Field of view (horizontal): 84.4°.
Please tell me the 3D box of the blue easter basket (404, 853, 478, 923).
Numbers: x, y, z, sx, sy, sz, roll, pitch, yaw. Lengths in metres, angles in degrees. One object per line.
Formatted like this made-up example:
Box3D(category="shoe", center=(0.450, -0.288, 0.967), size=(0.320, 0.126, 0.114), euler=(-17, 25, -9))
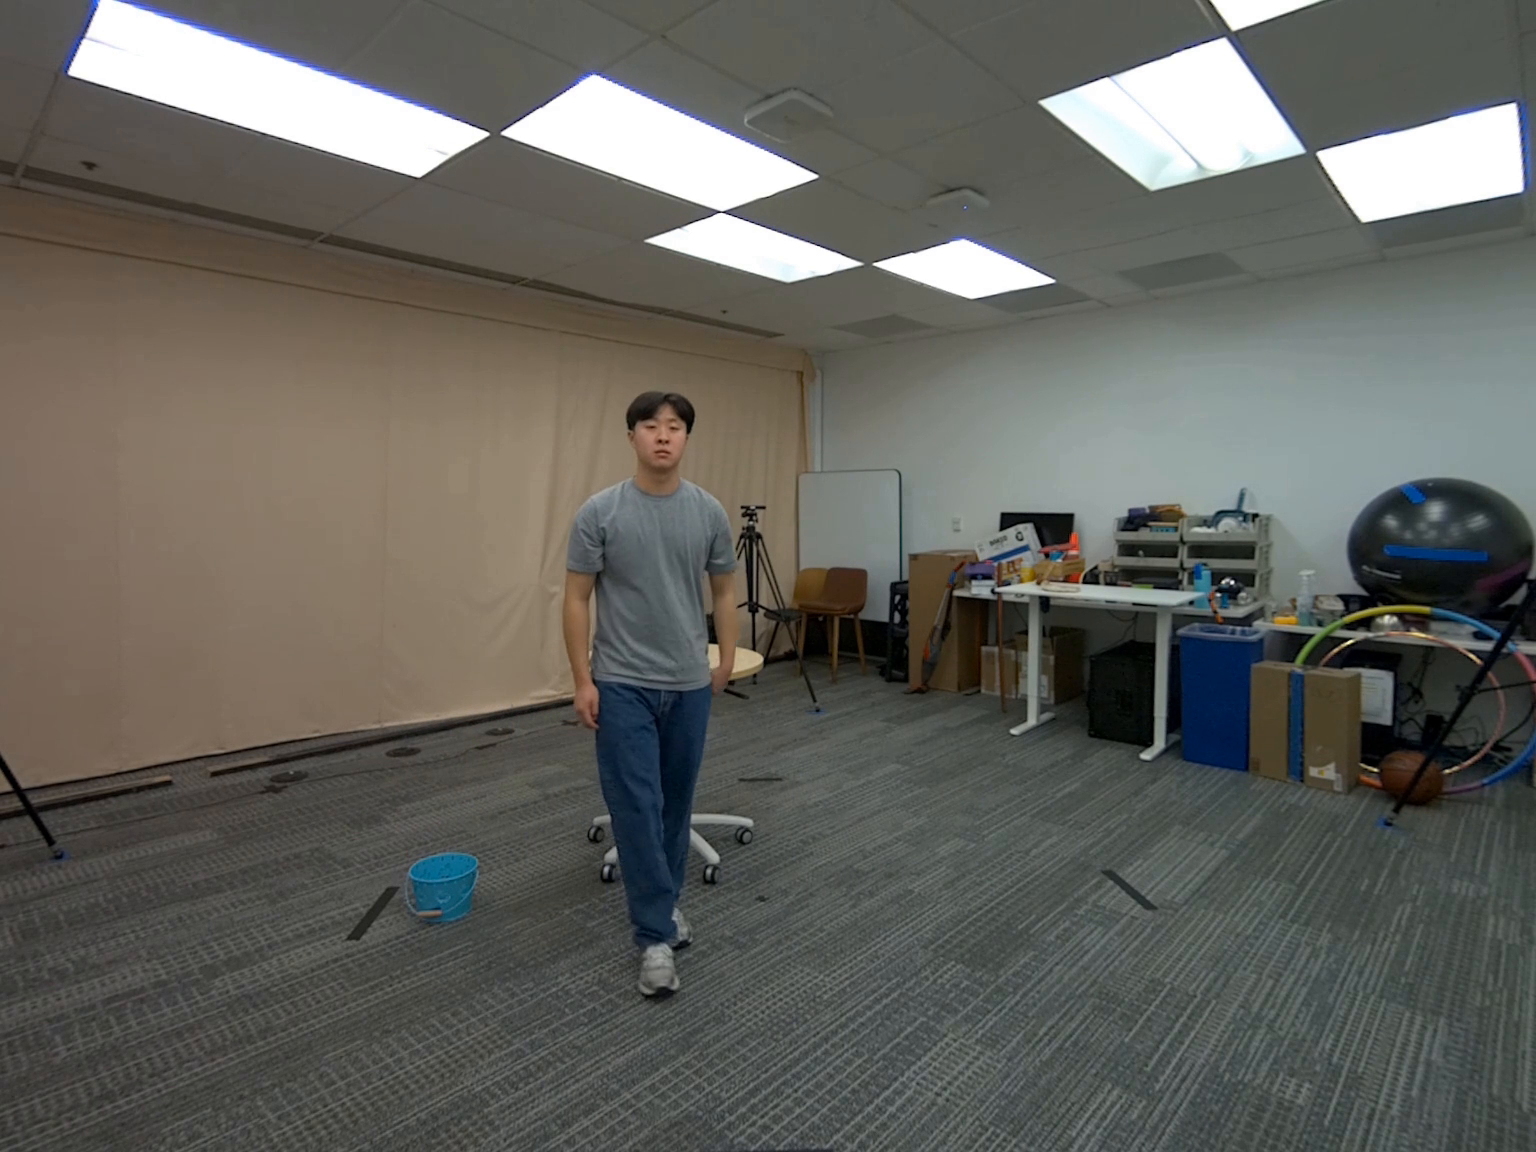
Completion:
Box3D(category="blue easter basket", center=(-1.133, 1.082, 2.917), size=(0.243, 0.155, 0.244), euler=(0, 3, -2))
